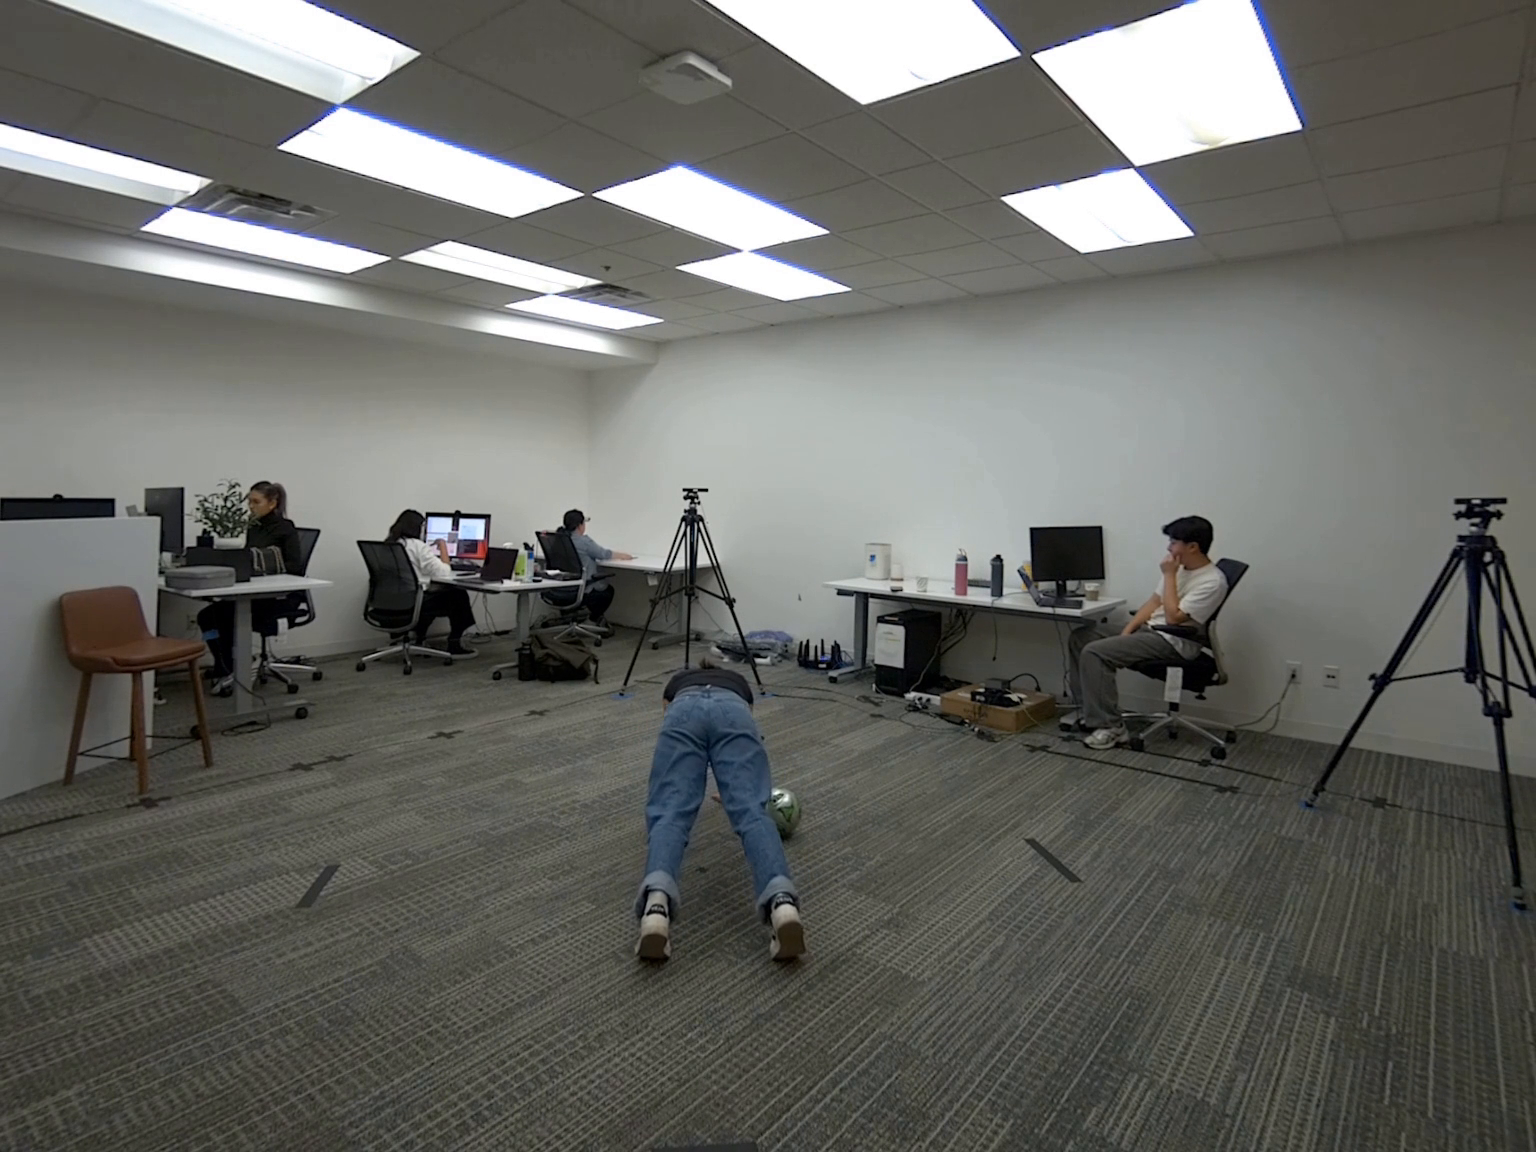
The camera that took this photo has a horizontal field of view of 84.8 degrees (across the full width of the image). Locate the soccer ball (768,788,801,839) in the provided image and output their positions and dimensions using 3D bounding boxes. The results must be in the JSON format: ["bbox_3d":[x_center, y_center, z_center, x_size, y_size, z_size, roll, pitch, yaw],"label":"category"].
[{"bbox_3d":[0.052,0.943,3.442,0.187,0.187,0.188,1,4,-2],"label":"soccer ball"}]
